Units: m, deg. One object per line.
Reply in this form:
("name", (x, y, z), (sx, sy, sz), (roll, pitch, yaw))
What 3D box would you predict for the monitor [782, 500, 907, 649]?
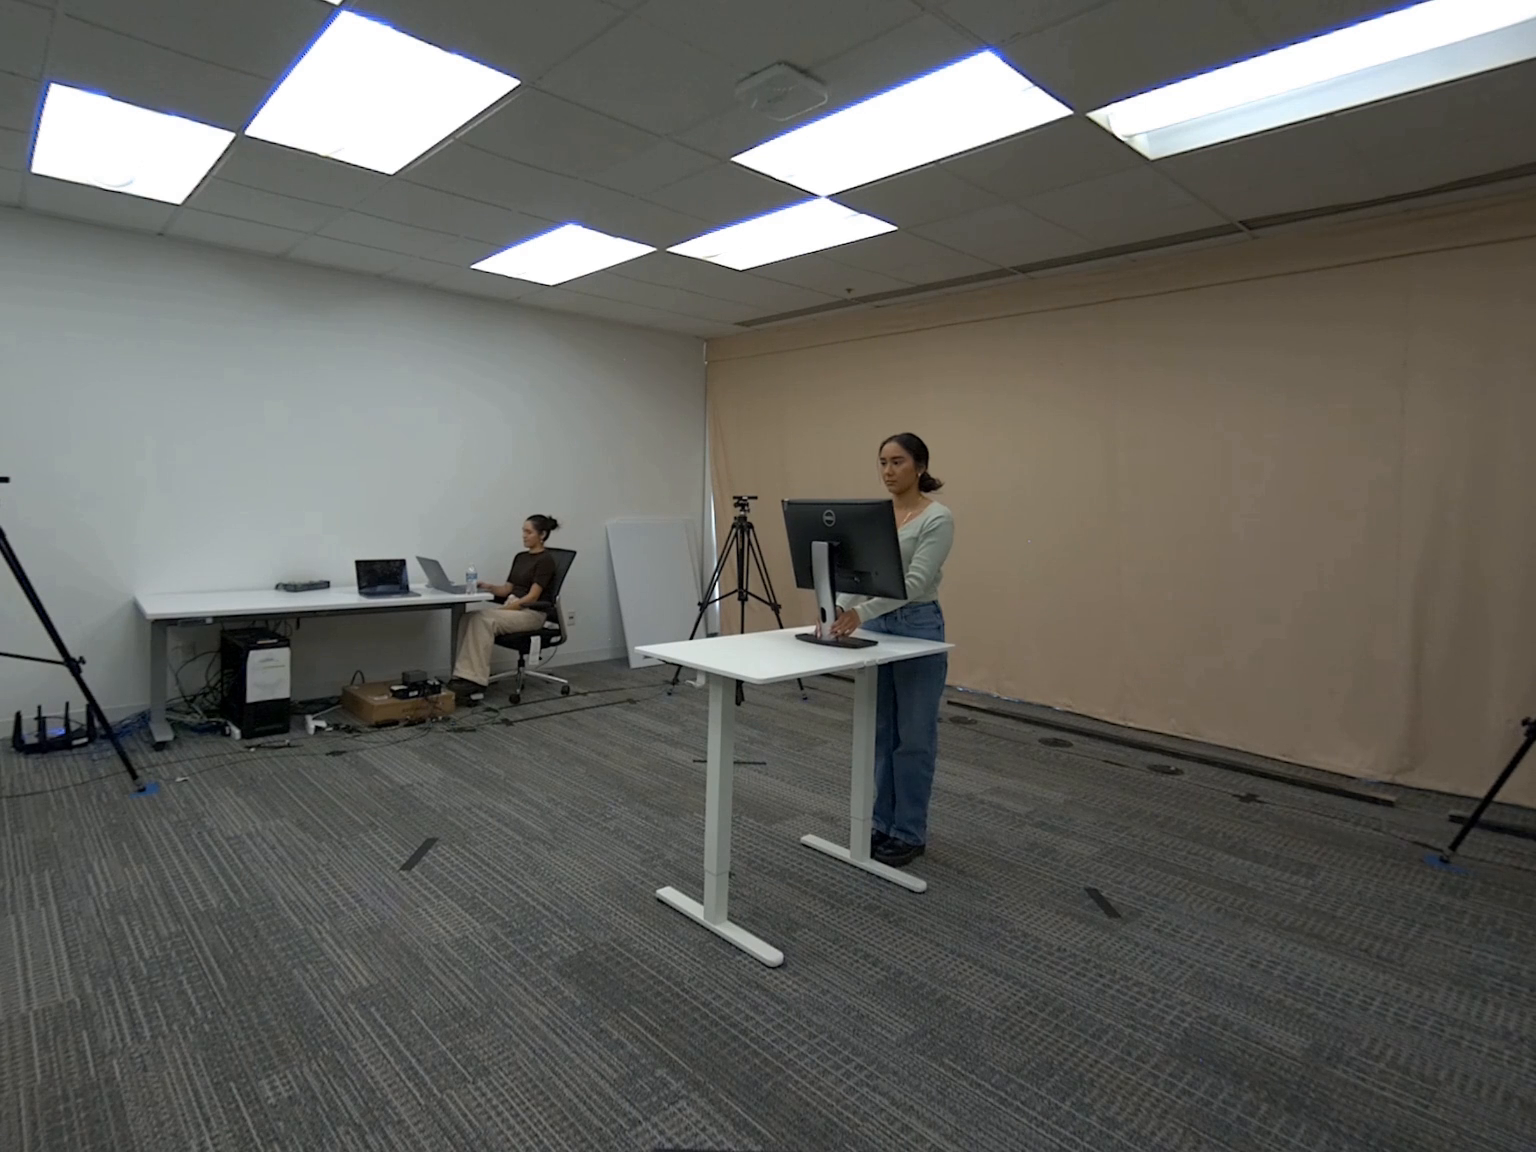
("monitor", (0.233, -0.012, 2.998), (0.183, 0.521, 0.553), (-4, 6, -42))
